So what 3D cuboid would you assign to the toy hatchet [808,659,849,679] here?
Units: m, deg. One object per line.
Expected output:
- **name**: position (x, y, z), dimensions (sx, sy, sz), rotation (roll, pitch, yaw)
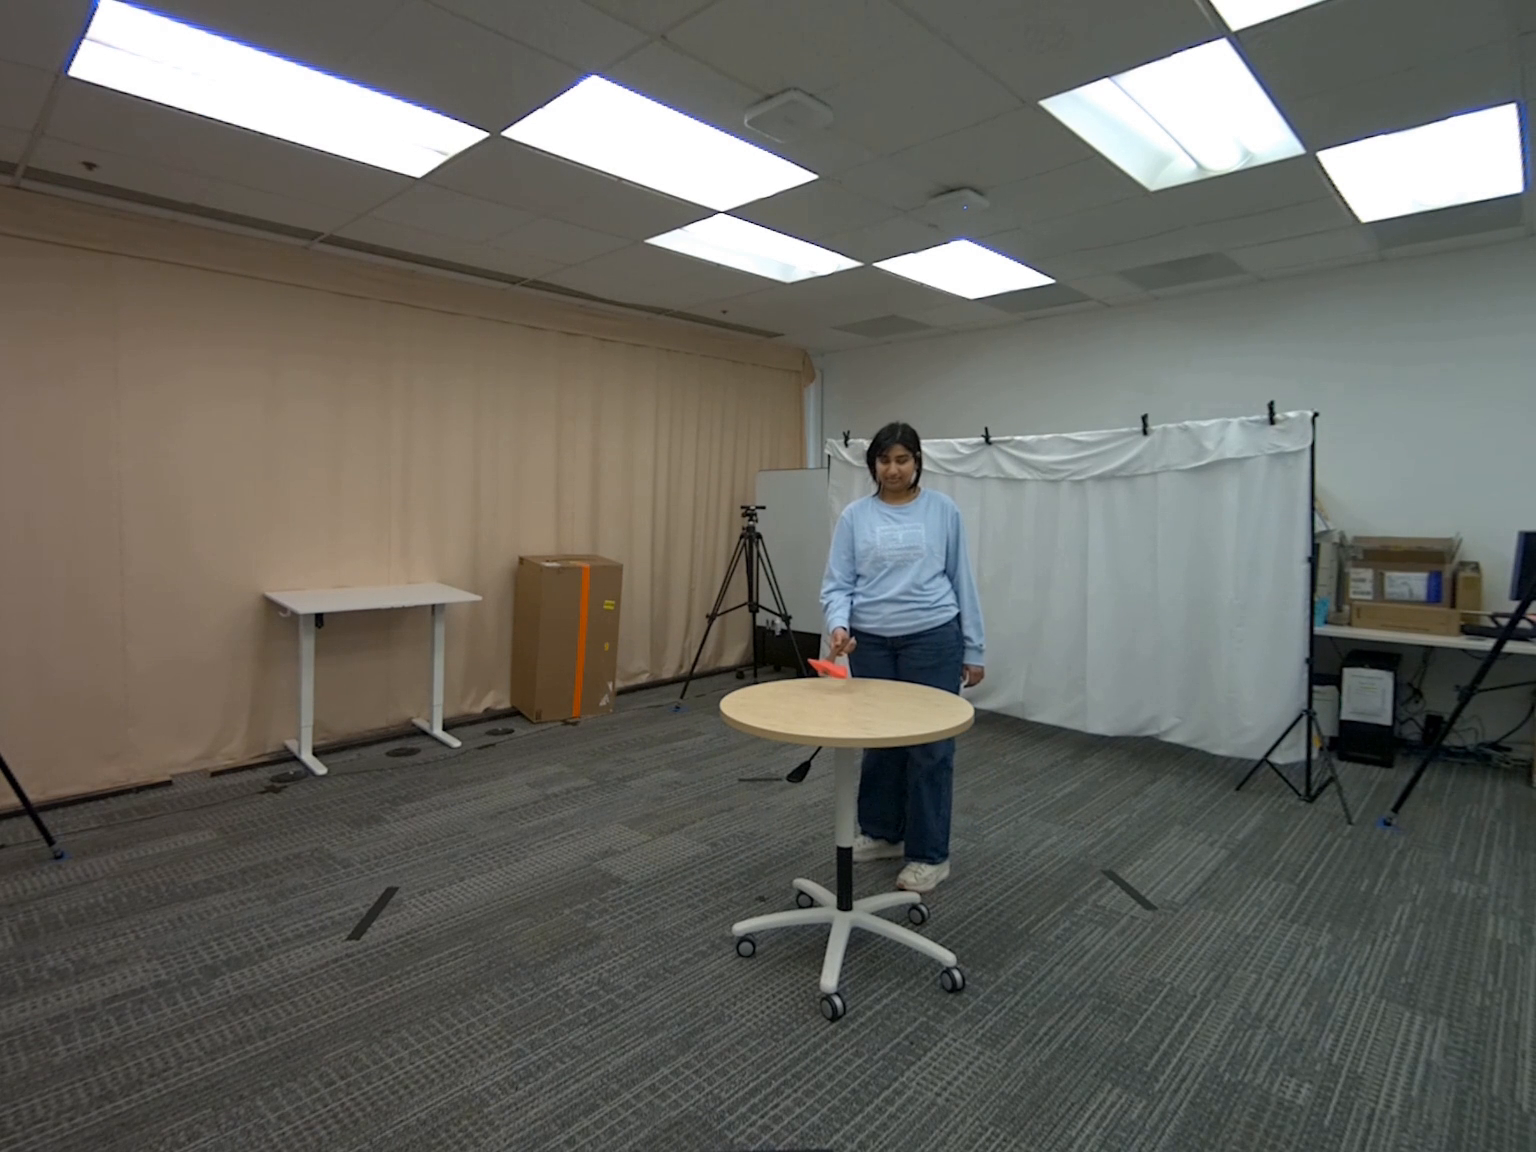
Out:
- **toy hatchet**: position (0.257, 0.275, 2.844), dimensions (0.135, 0.029, 0.263), rotation (26, 23, 26)
